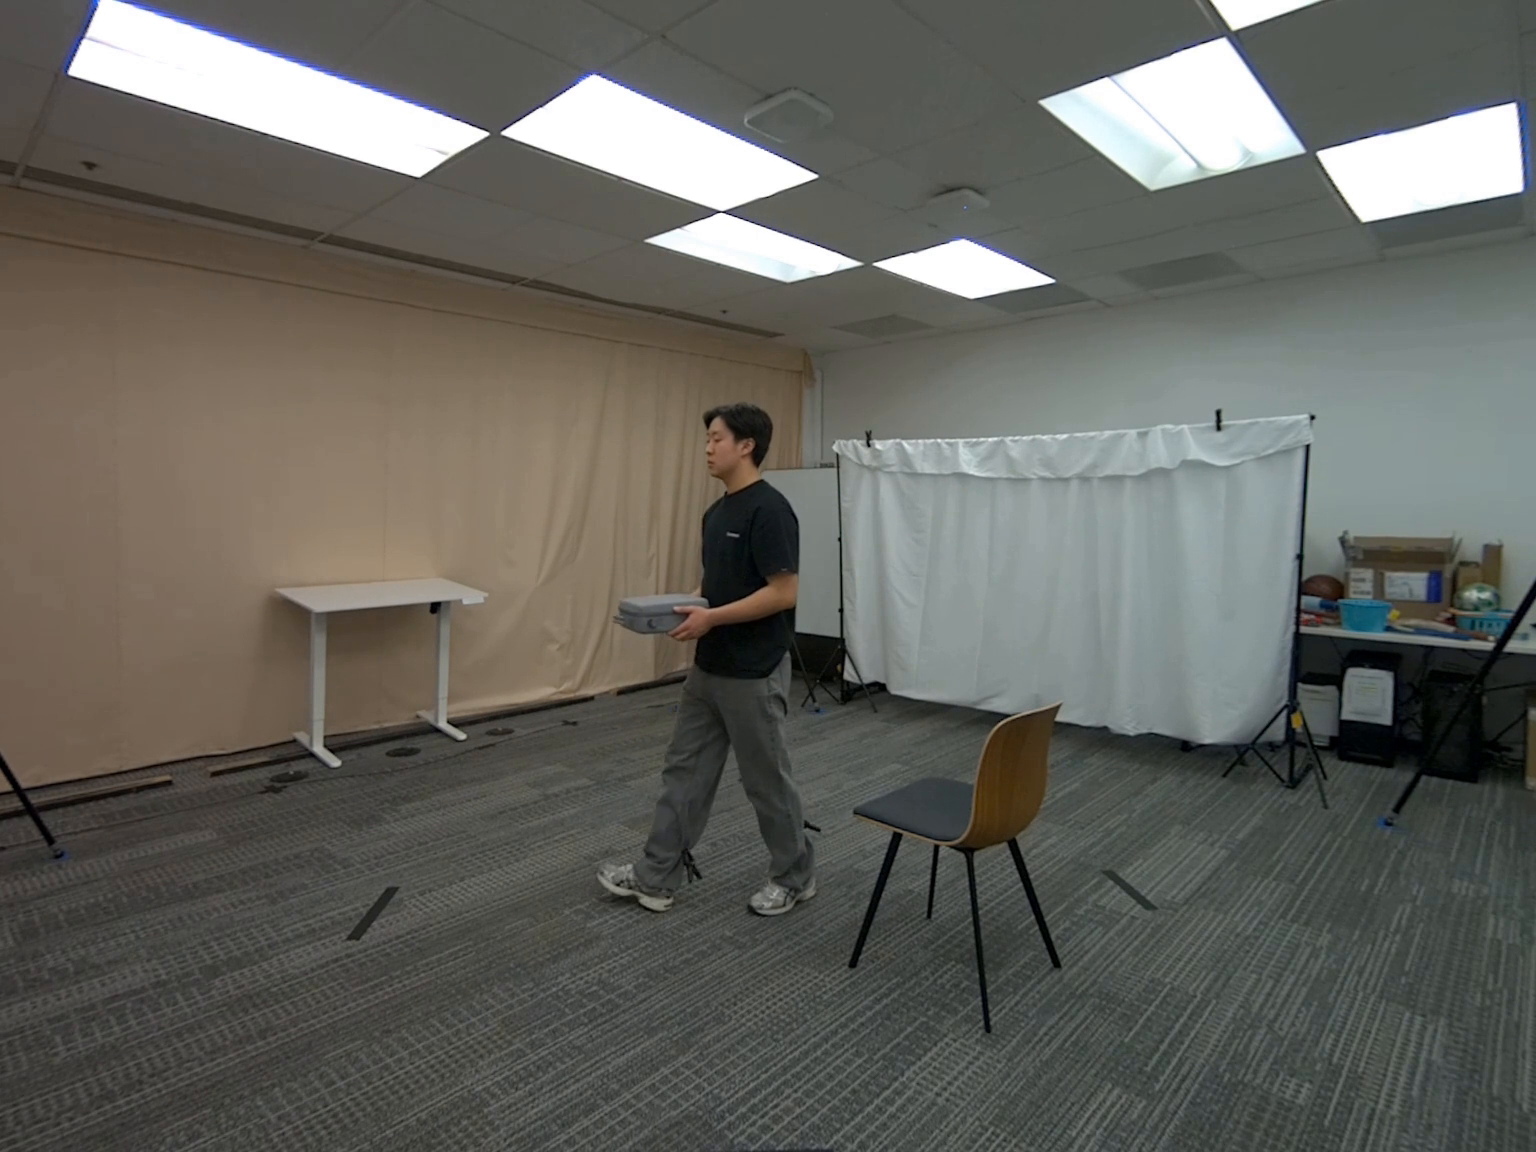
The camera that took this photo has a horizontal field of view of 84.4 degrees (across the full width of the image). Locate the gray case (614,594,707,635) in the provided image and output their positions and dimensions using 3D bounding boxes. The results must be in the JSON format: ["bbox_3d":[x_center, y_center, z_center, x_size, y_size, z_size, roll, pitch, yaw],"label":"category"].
[{"bbox_3d":[-0.371,0.125,2.822,0.281,0.103,0.270,-4,5,-24],"label":"gray case"}]
